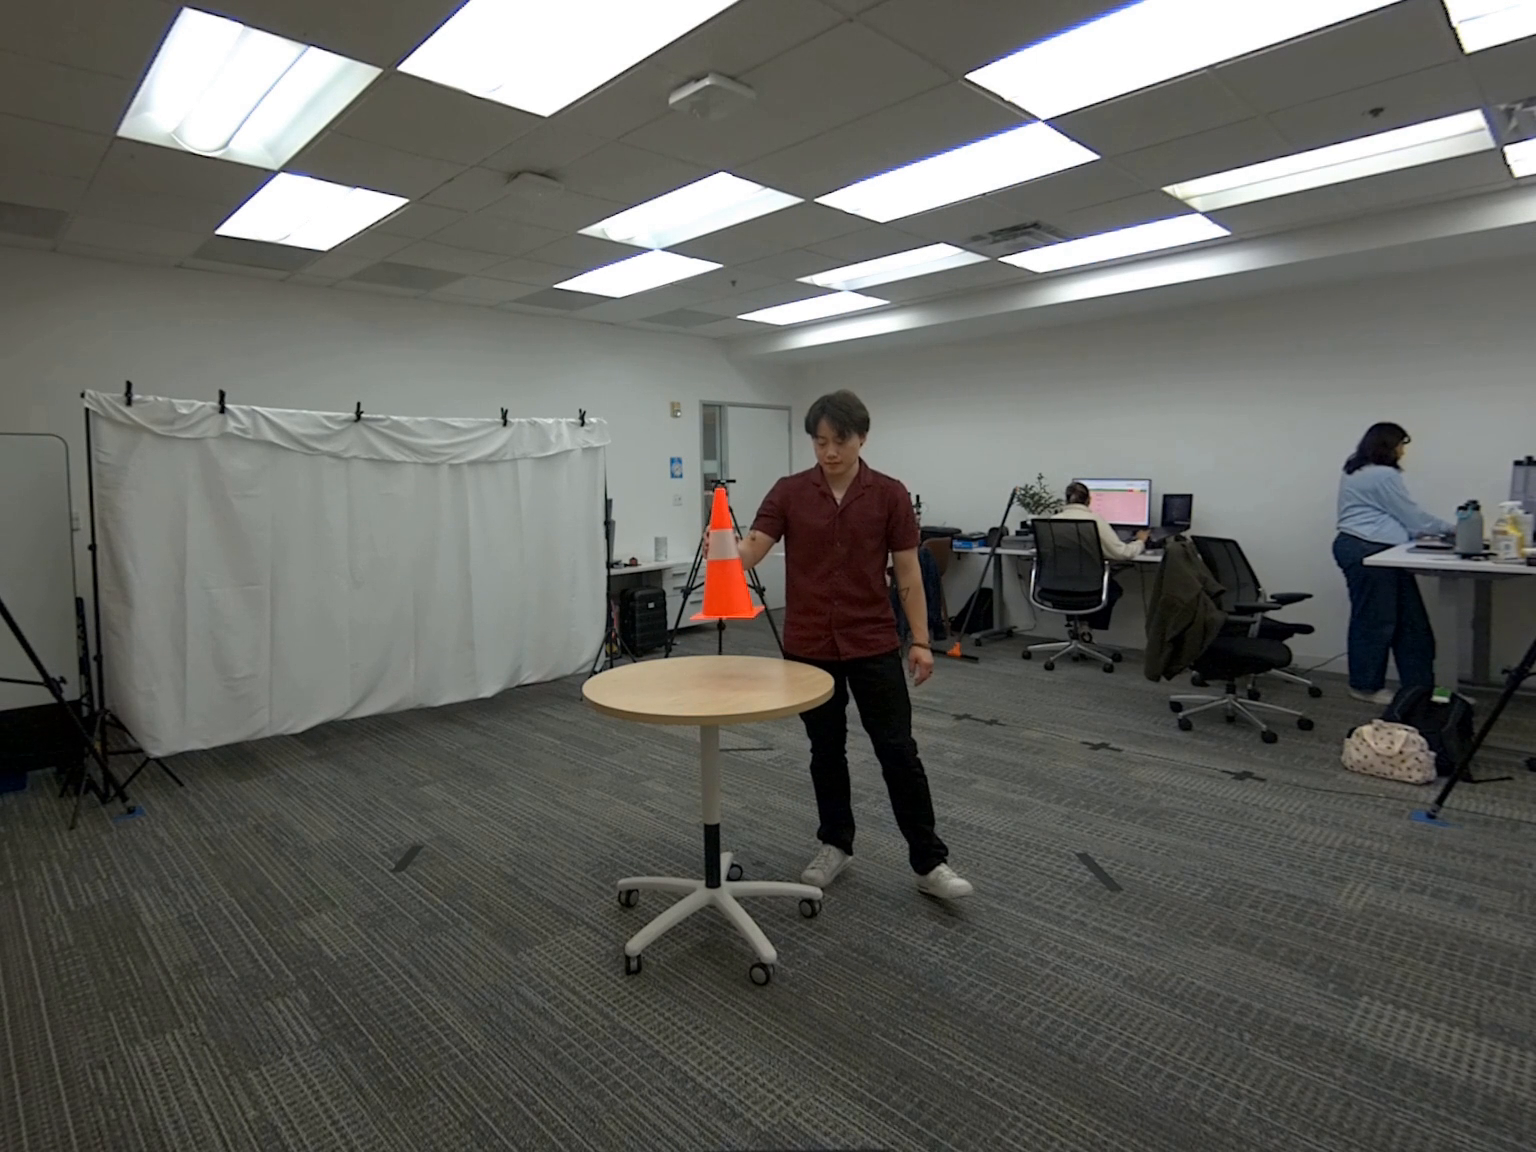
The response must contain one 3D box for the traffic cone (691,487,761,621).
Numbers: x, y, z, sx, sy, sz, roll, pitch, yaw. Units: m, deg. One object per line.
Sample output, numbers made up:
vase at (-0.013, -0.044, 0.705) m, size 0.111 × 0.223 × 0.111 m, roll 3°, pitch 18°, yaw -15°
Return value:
traffic cone at (-0.138, -0.076, 2.584) m, size 0.208 × 0.383 × 0.200 m, roll -4°, pitch 1°, yaw 32°
